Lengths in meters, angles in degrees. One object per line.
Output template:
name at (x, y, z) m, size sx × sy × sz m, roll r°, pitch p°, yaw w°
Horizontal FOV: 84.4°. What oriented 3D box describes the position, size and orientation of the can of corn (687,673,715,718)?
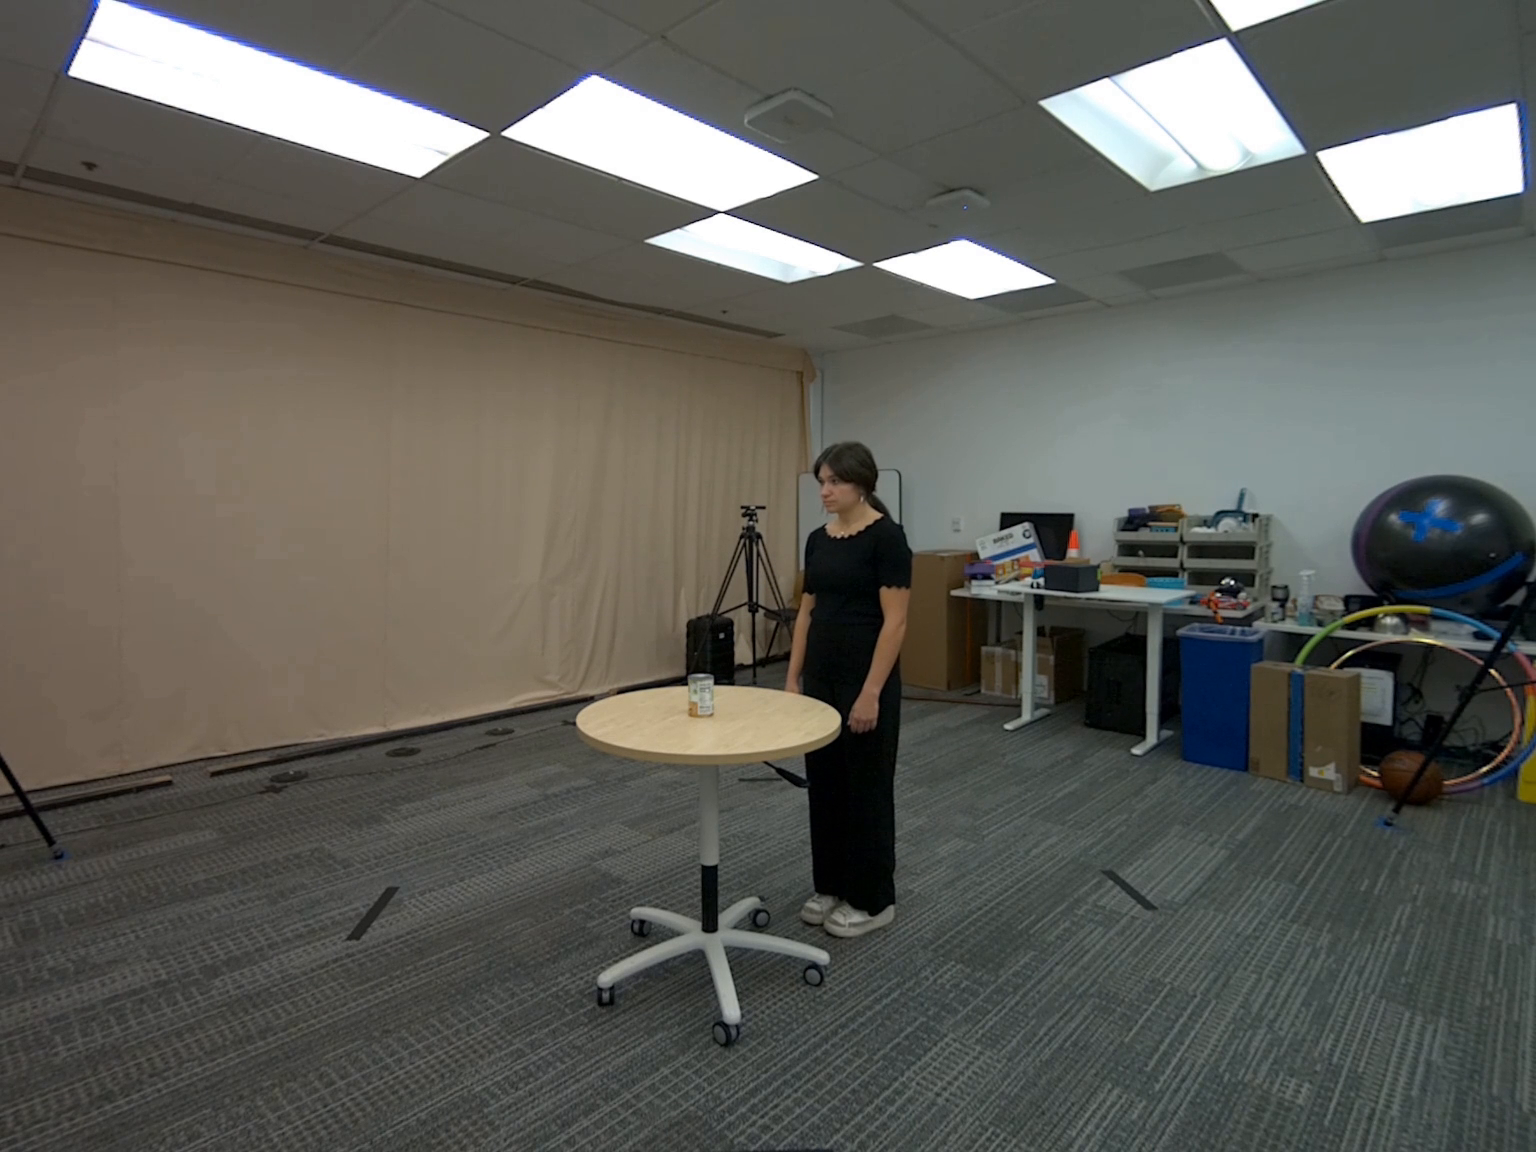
can of corn at (-0.194, 0.352, 2.446) m, size 0.074 × 0.111 × 0.074 m, roll -1°, pitch 4°, yaw -2°
